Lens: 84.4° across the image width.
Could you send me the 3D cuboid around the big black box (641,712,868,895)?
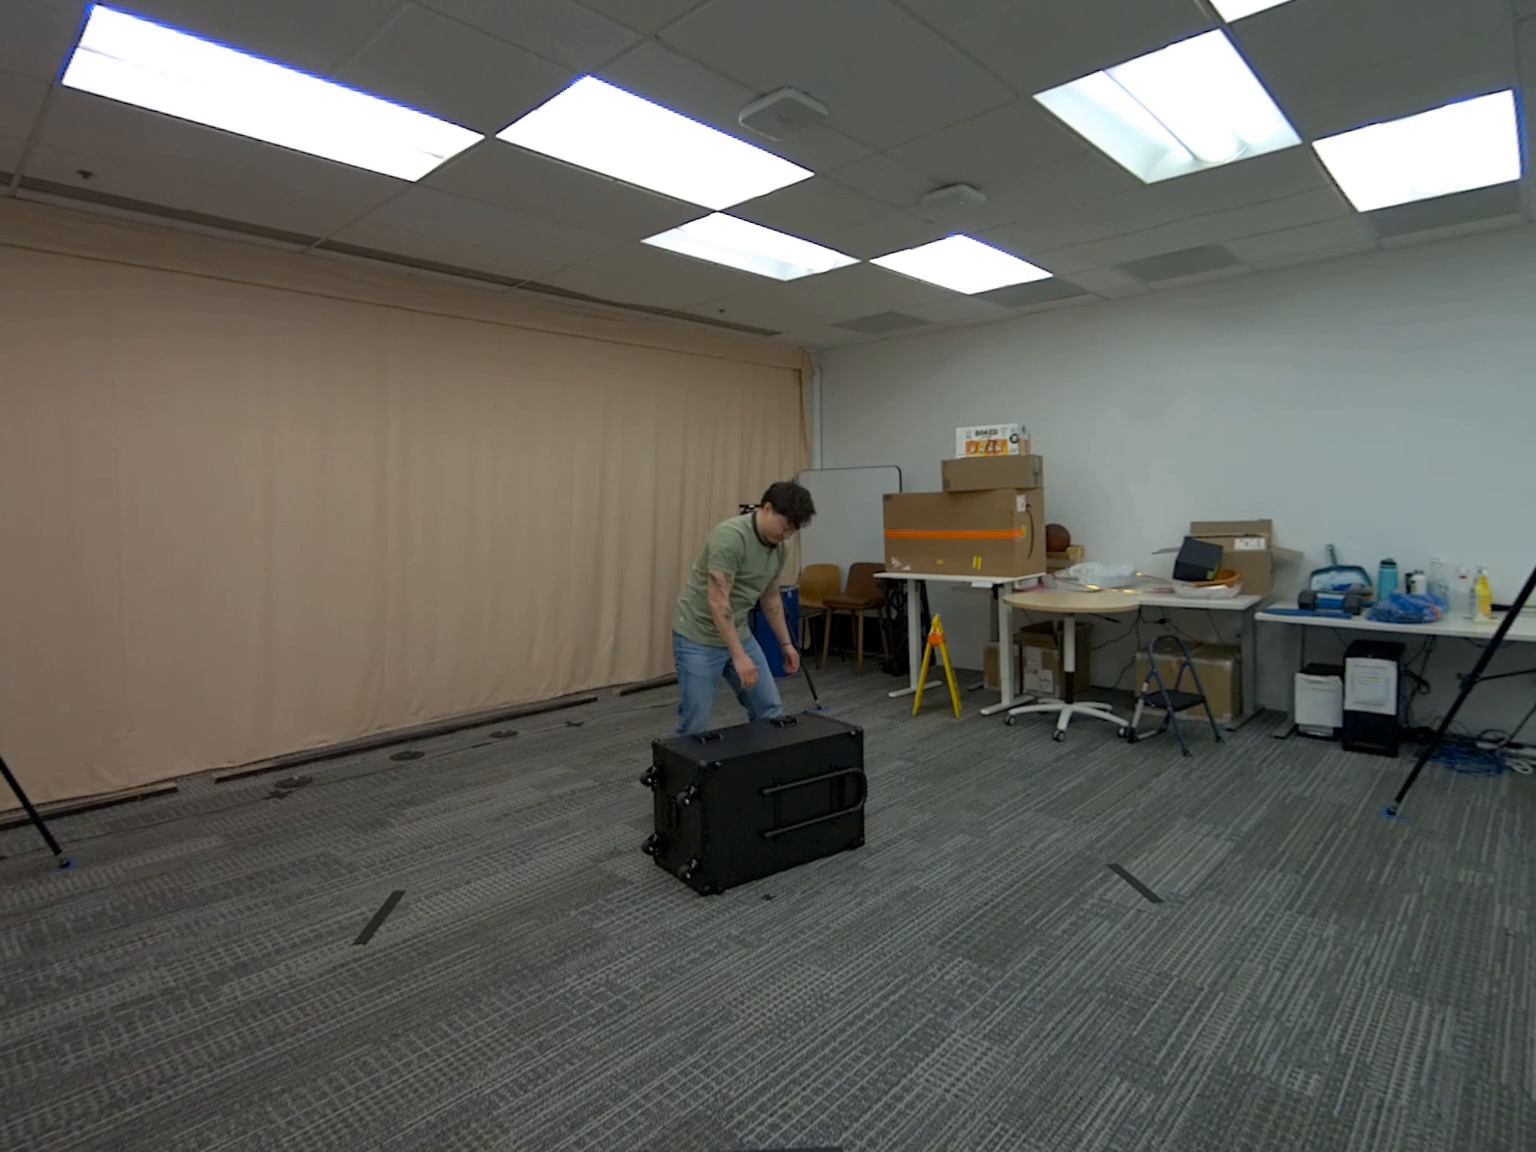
[{"bbox_3d":[-0.044,0.871,3.308,0.837,0.520,0.408,-4,5,-34],"label":"big black box"}]
